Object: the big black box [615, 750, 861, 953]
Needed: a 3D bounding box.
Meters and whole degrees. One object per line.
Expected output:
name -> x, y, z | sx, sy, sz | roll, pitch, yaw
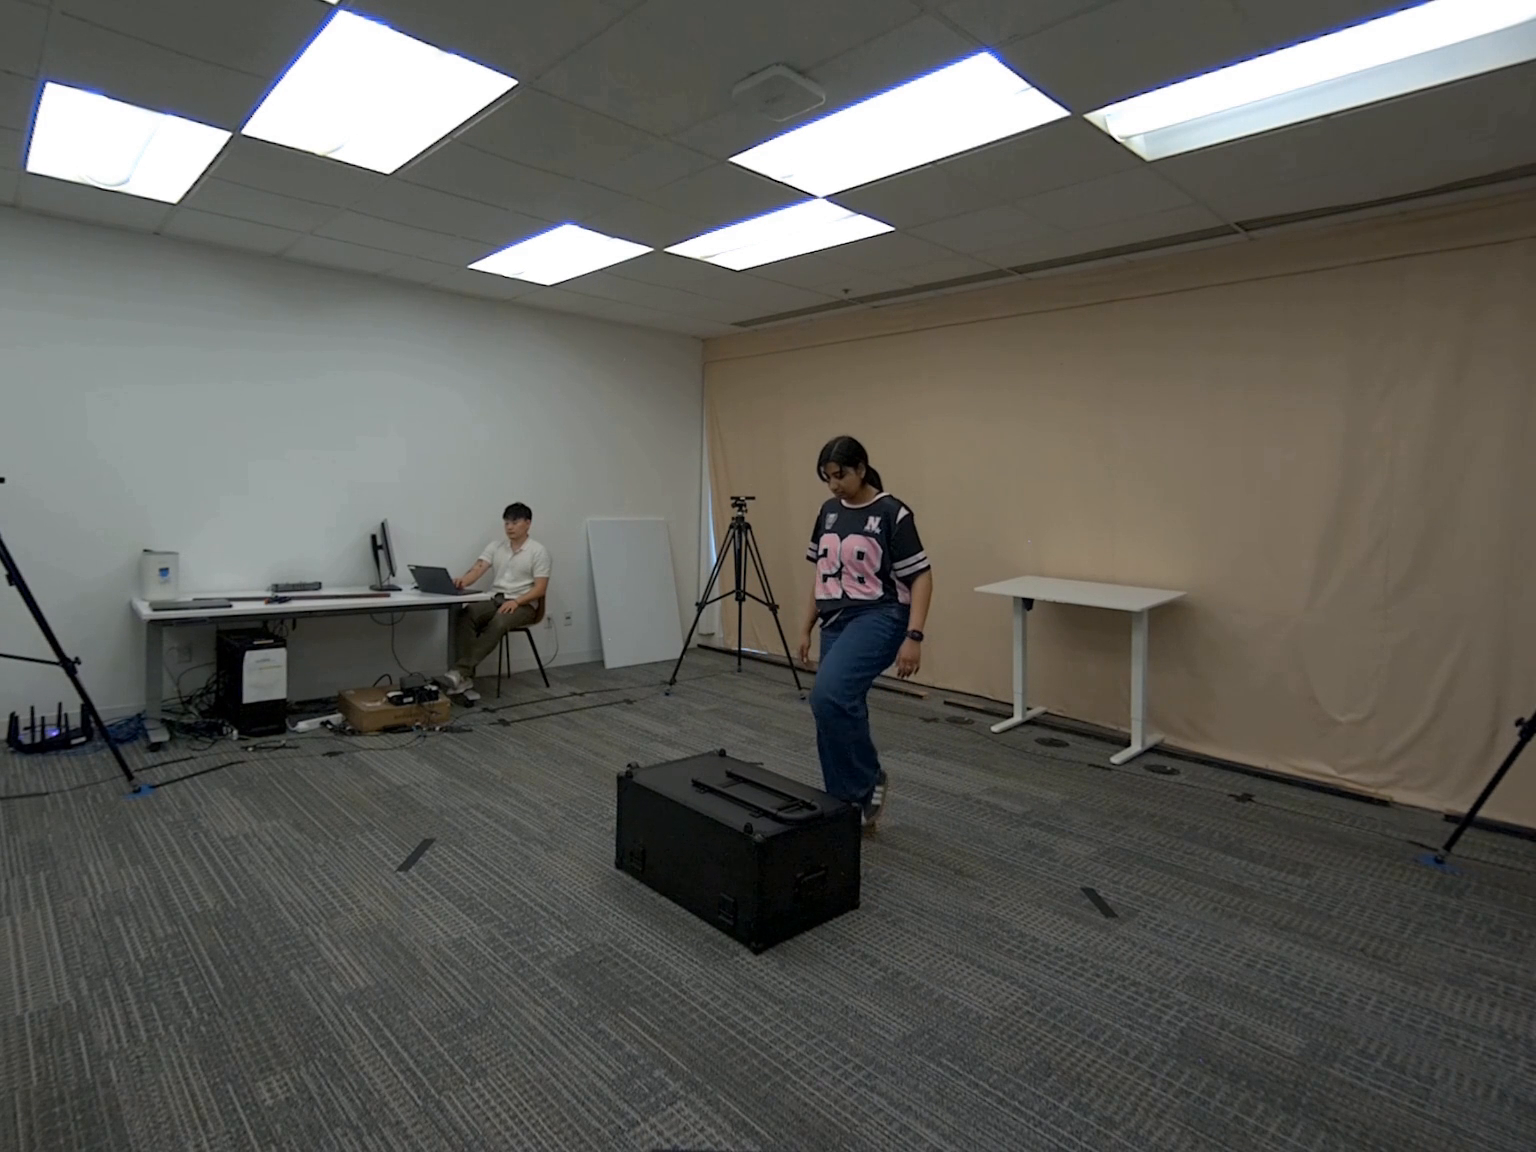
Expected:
big black box -> -0.163, 0.928, 3.019 | 0.512, 0.384, 0.891 | -4, 7, -42
